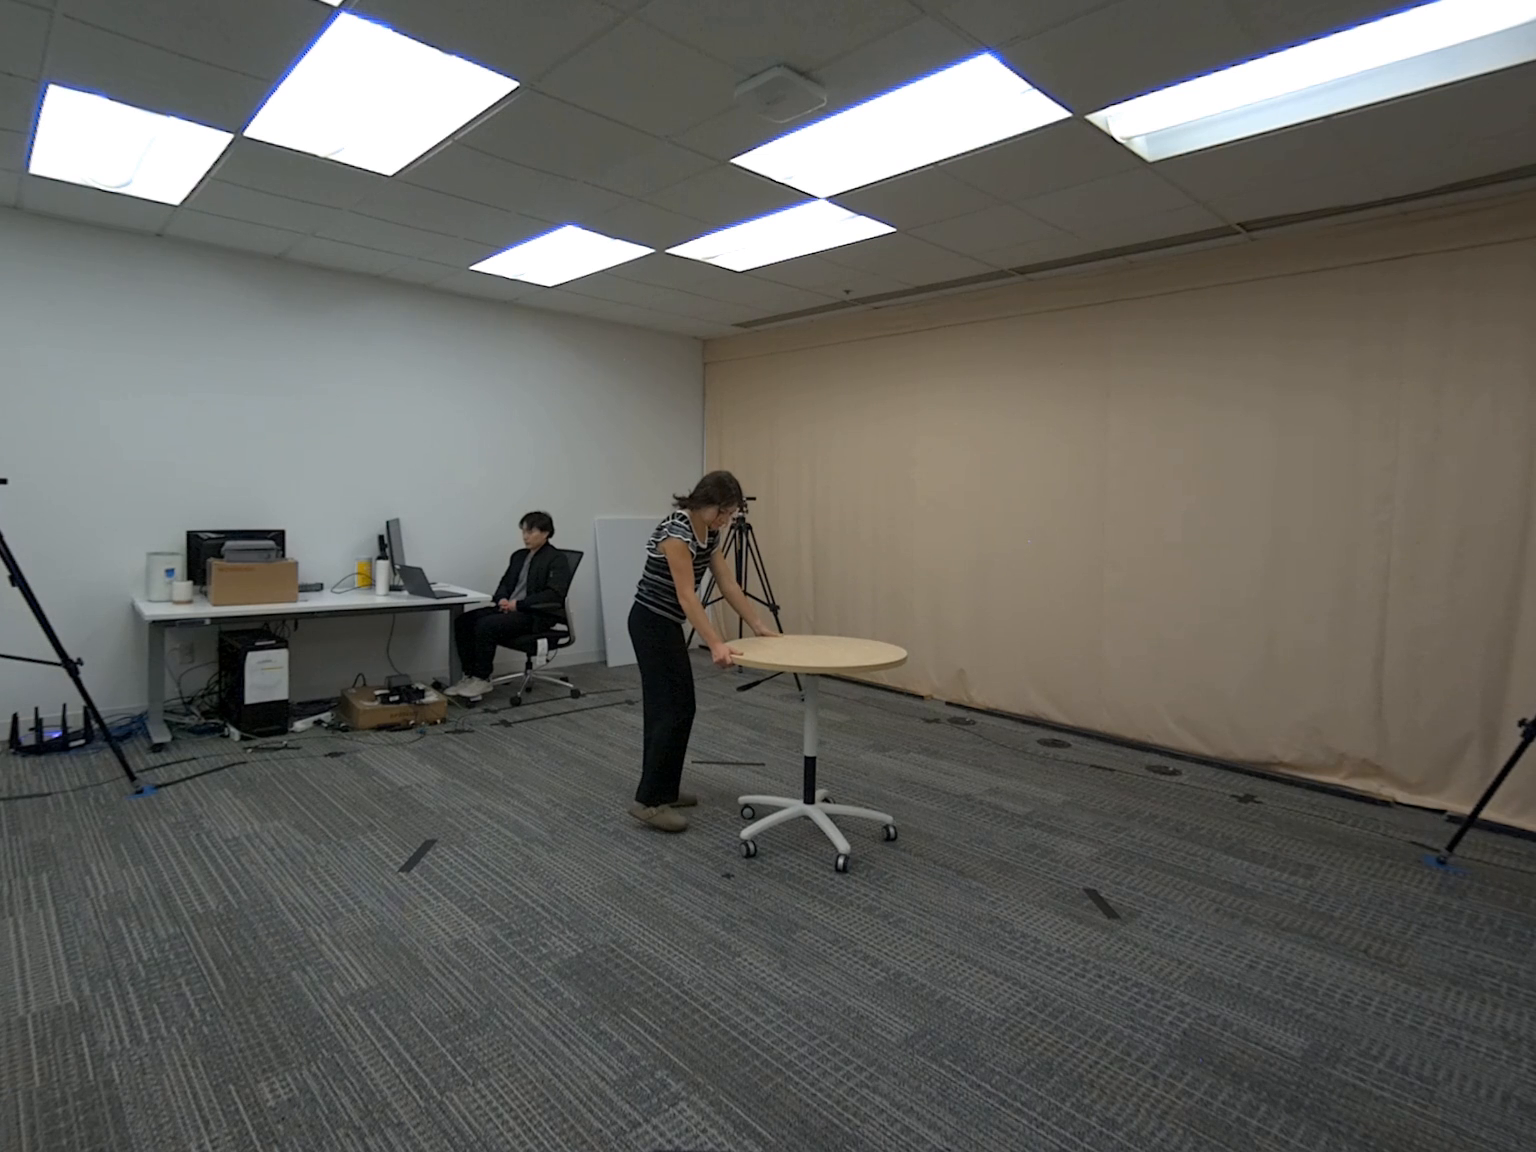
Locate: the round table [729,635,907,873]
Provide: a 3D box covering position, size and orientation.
[{"bbox_3d":[0.171,0.695,3.464,0.763,0.792,0.766,1,3,-1],"label":"round table"}]
